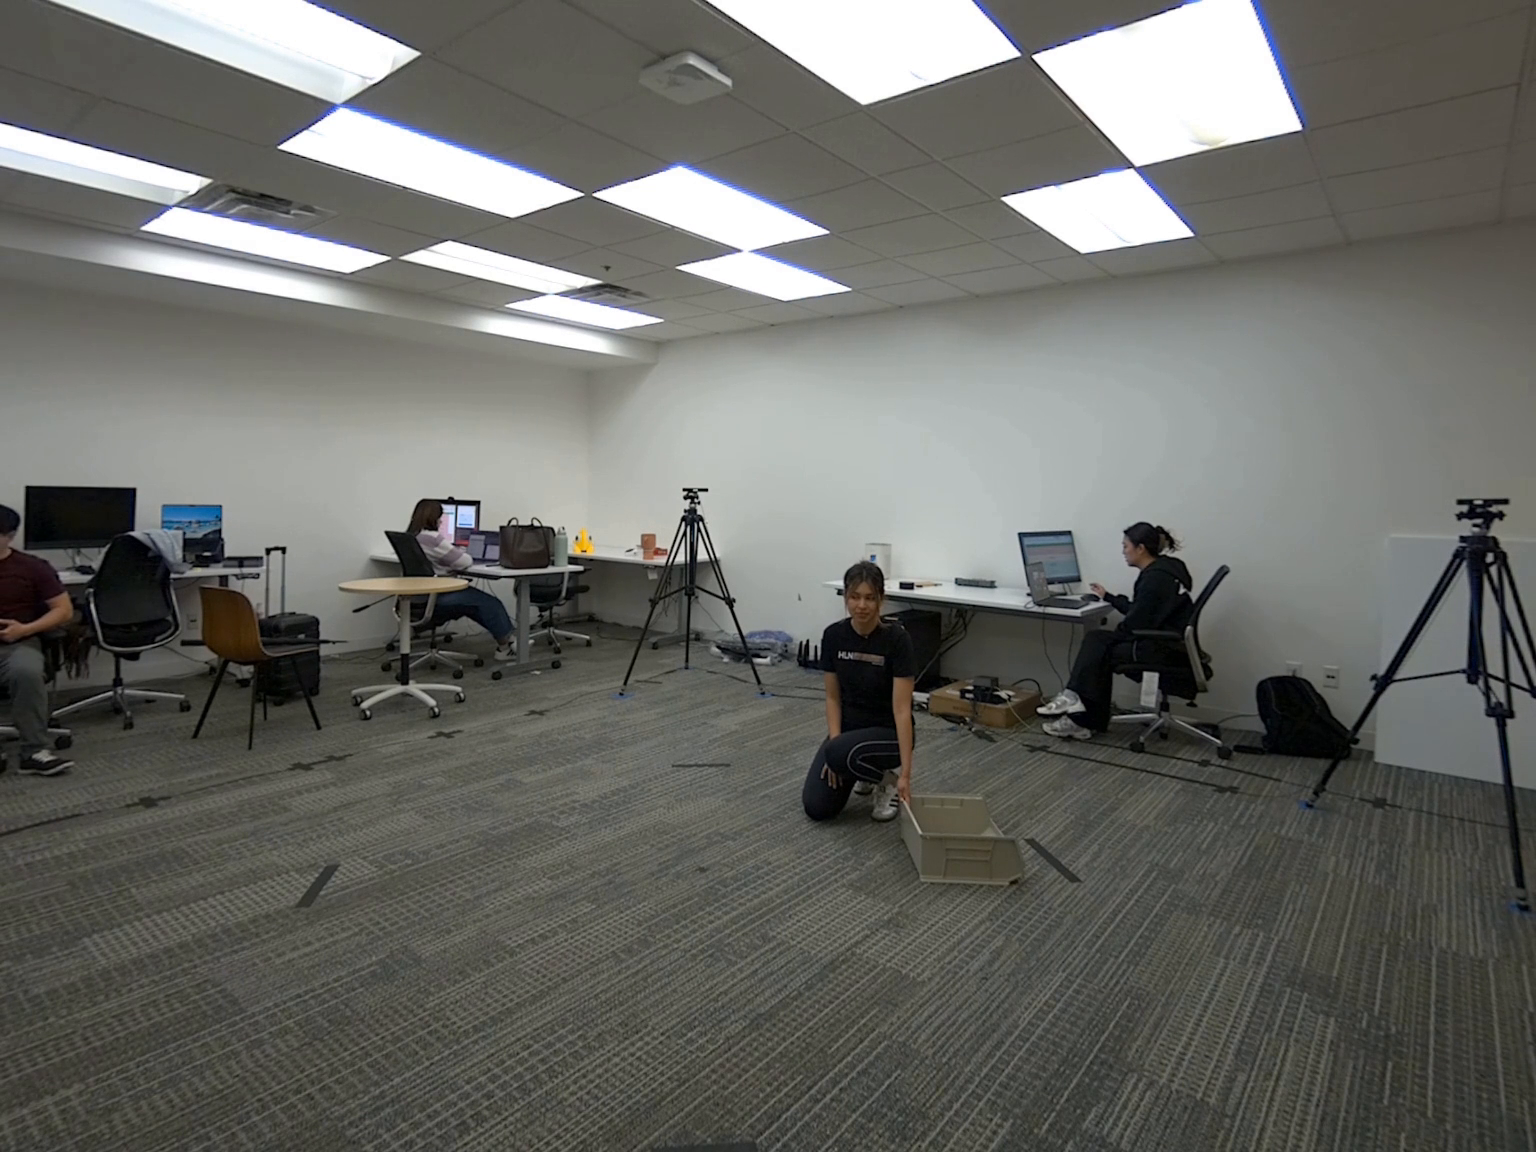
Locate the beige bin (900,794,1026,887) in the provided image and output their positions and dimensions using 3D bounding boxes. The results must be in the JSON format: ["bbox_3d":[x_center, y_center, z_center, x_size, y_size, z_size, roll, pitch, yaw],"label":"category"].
[{"bbox_3d":[0.724,0.990,3.246,0.377,0.188,0.424,0,5,-1],"label":"beige bin"}]
